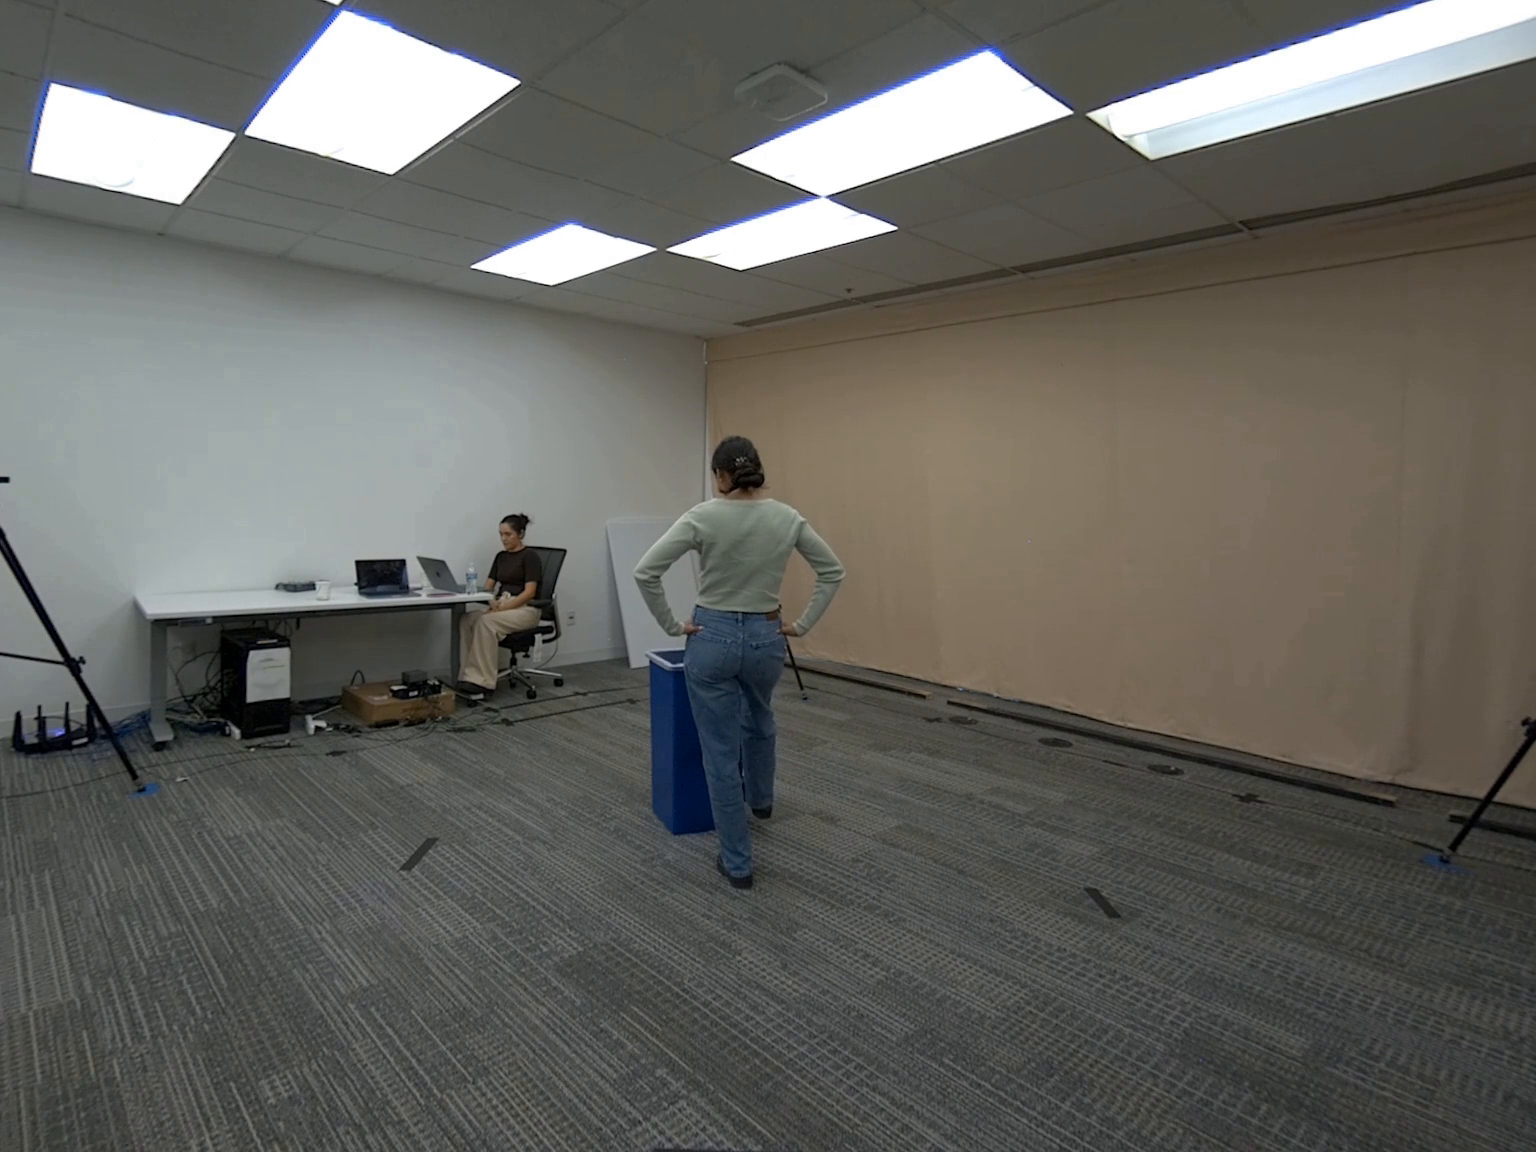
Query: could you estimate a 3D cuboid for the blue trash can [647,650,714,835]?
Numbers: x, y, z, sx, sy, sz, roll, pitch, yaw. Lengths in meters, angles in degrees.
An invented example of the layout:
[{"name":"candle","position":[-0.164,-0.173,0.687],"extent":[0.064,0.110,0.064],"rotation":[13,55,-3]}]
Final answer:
[{"name":"blue trash can","position":[-0.323,0.692,3.636],"extent":[0.371,0.712,0.382],"rotation":[0,4,-25]}]
